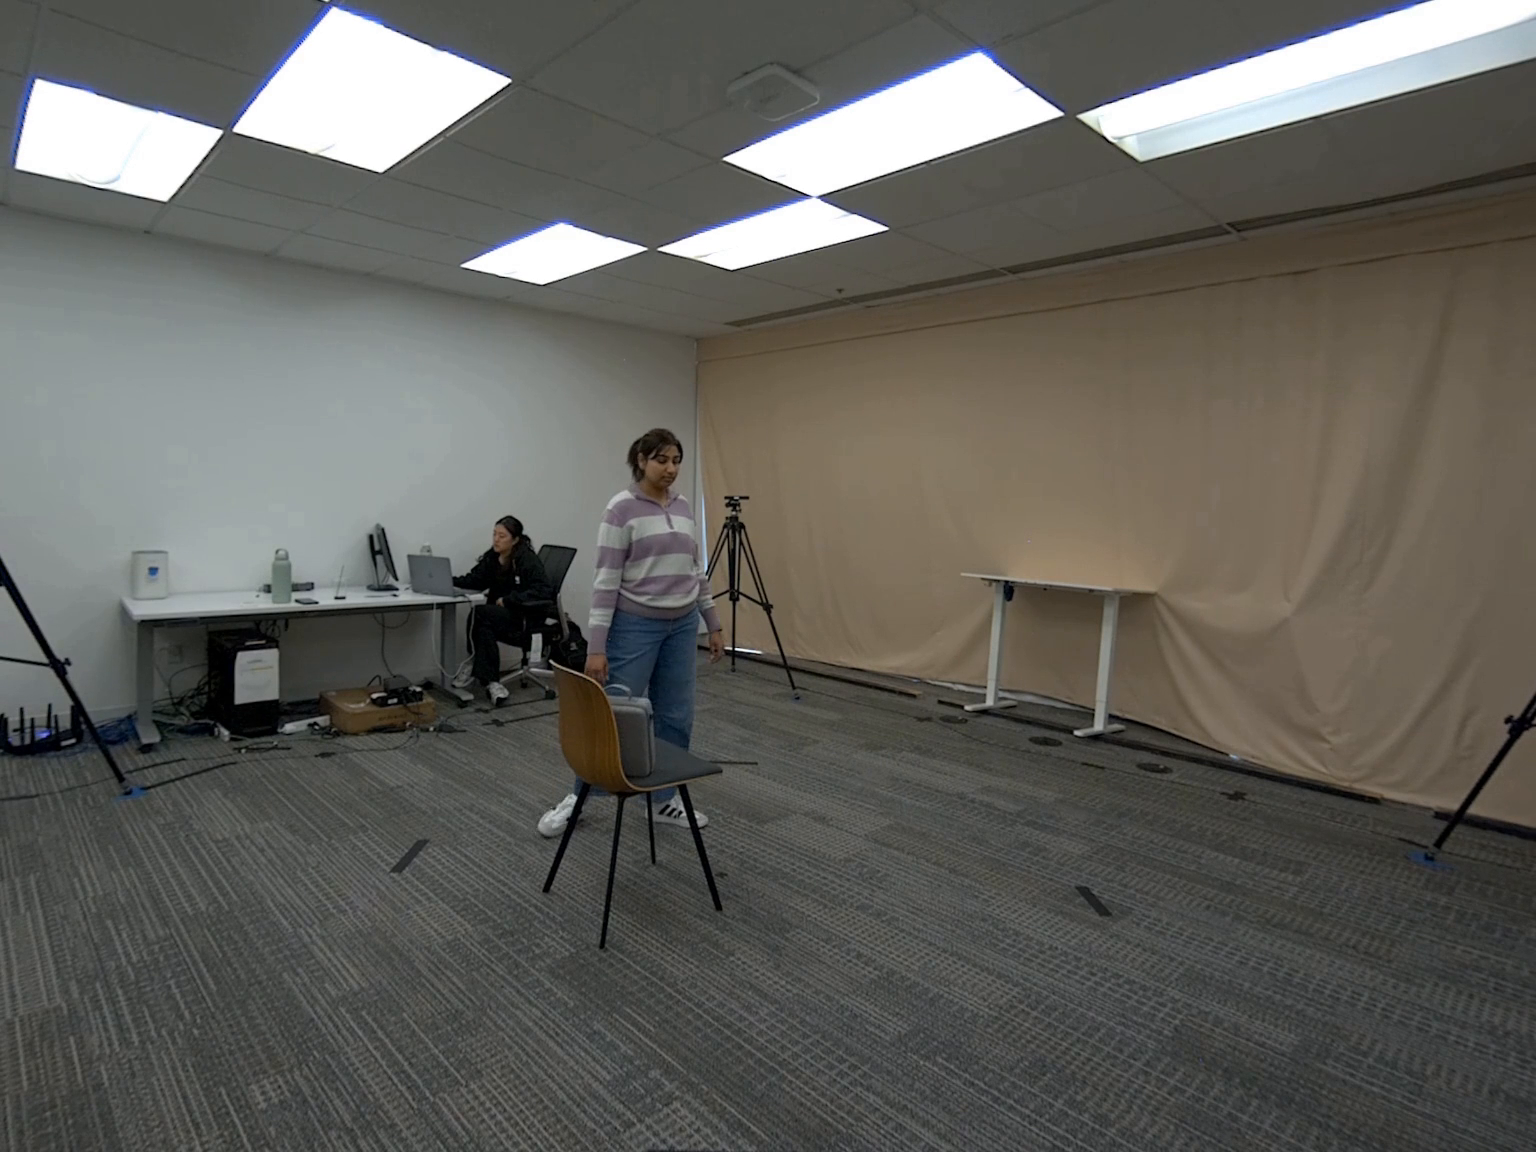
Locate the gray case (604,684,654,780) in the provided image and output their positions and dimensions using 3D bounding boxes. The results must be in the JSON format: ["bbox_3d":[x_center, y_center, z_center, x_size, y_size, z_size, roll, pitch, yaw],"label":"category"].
[{"bbox_3d":[-0.524,0.526,2.754,0.259,0.258,0.104,2,14,12],"label":"gray case"}]
